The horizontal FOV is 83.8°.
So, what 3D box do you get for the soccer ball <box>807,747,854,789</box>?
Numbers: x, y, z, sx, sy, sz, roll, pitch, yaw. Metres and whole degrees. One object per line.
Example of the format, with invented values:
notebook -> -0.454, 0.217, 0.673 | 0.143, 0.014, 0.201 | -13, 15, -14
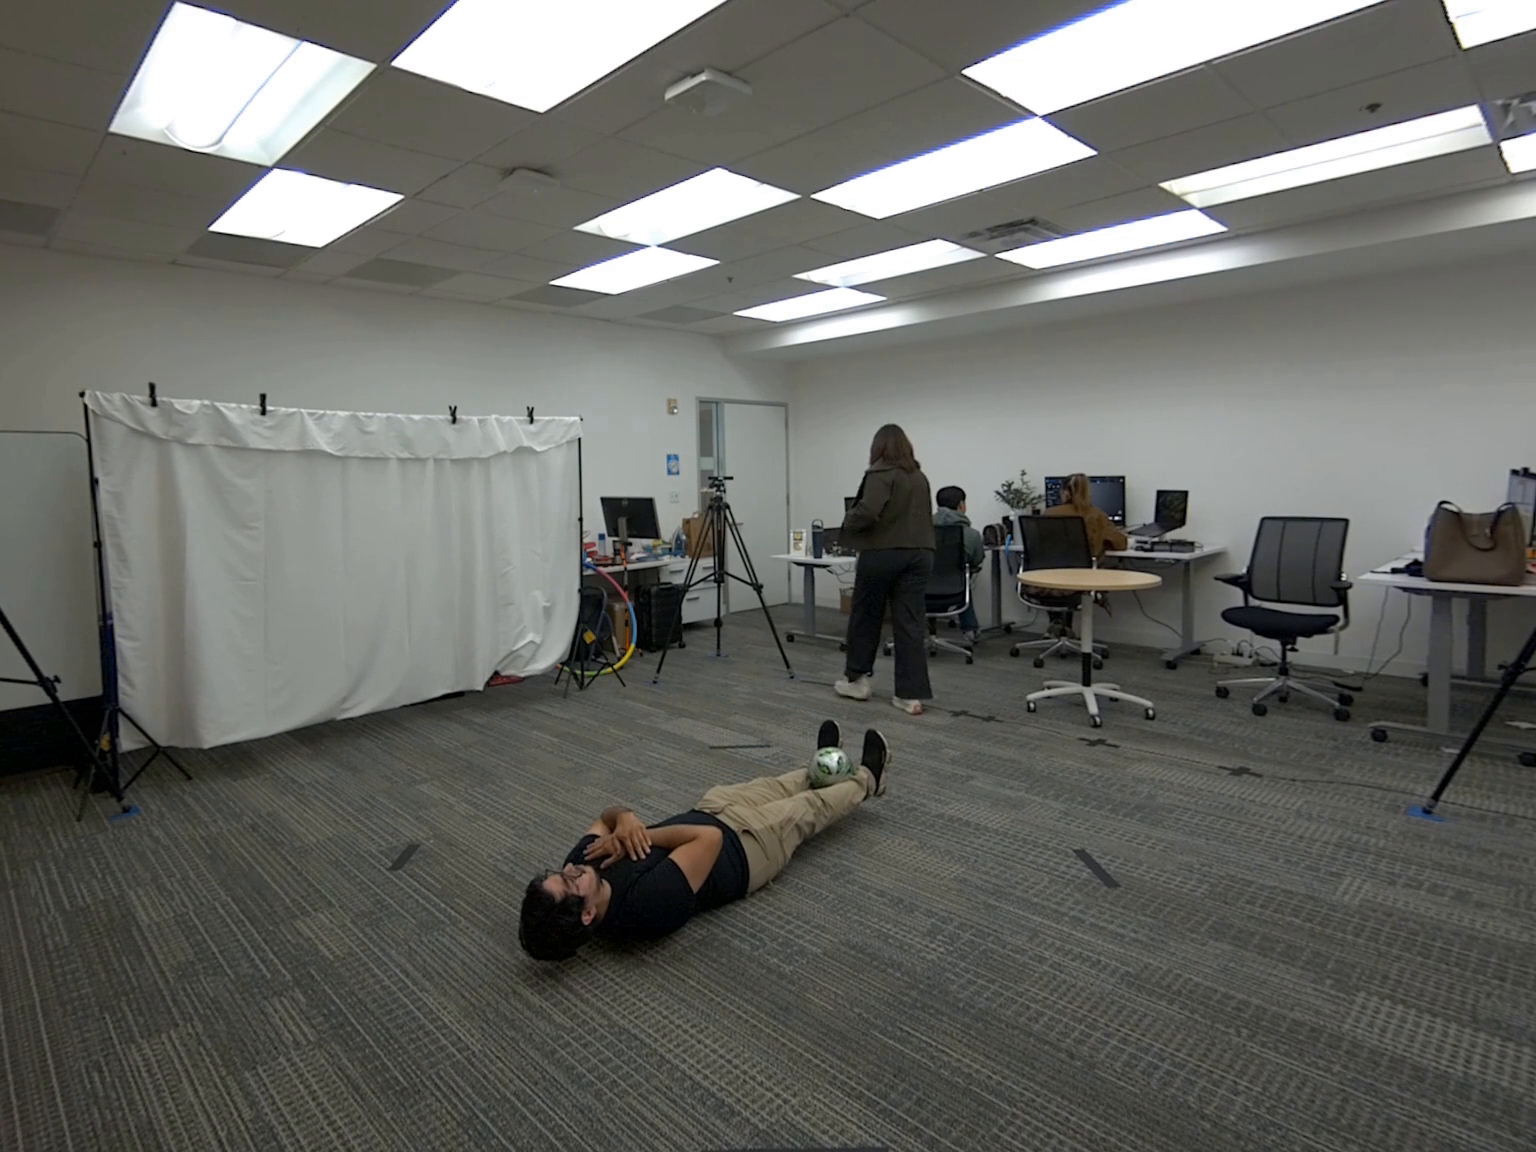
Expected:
soccer ball -> 0.265, 0.798, 3.493 | 0.187, 0.187, 0.188 | -1, 4, -2
